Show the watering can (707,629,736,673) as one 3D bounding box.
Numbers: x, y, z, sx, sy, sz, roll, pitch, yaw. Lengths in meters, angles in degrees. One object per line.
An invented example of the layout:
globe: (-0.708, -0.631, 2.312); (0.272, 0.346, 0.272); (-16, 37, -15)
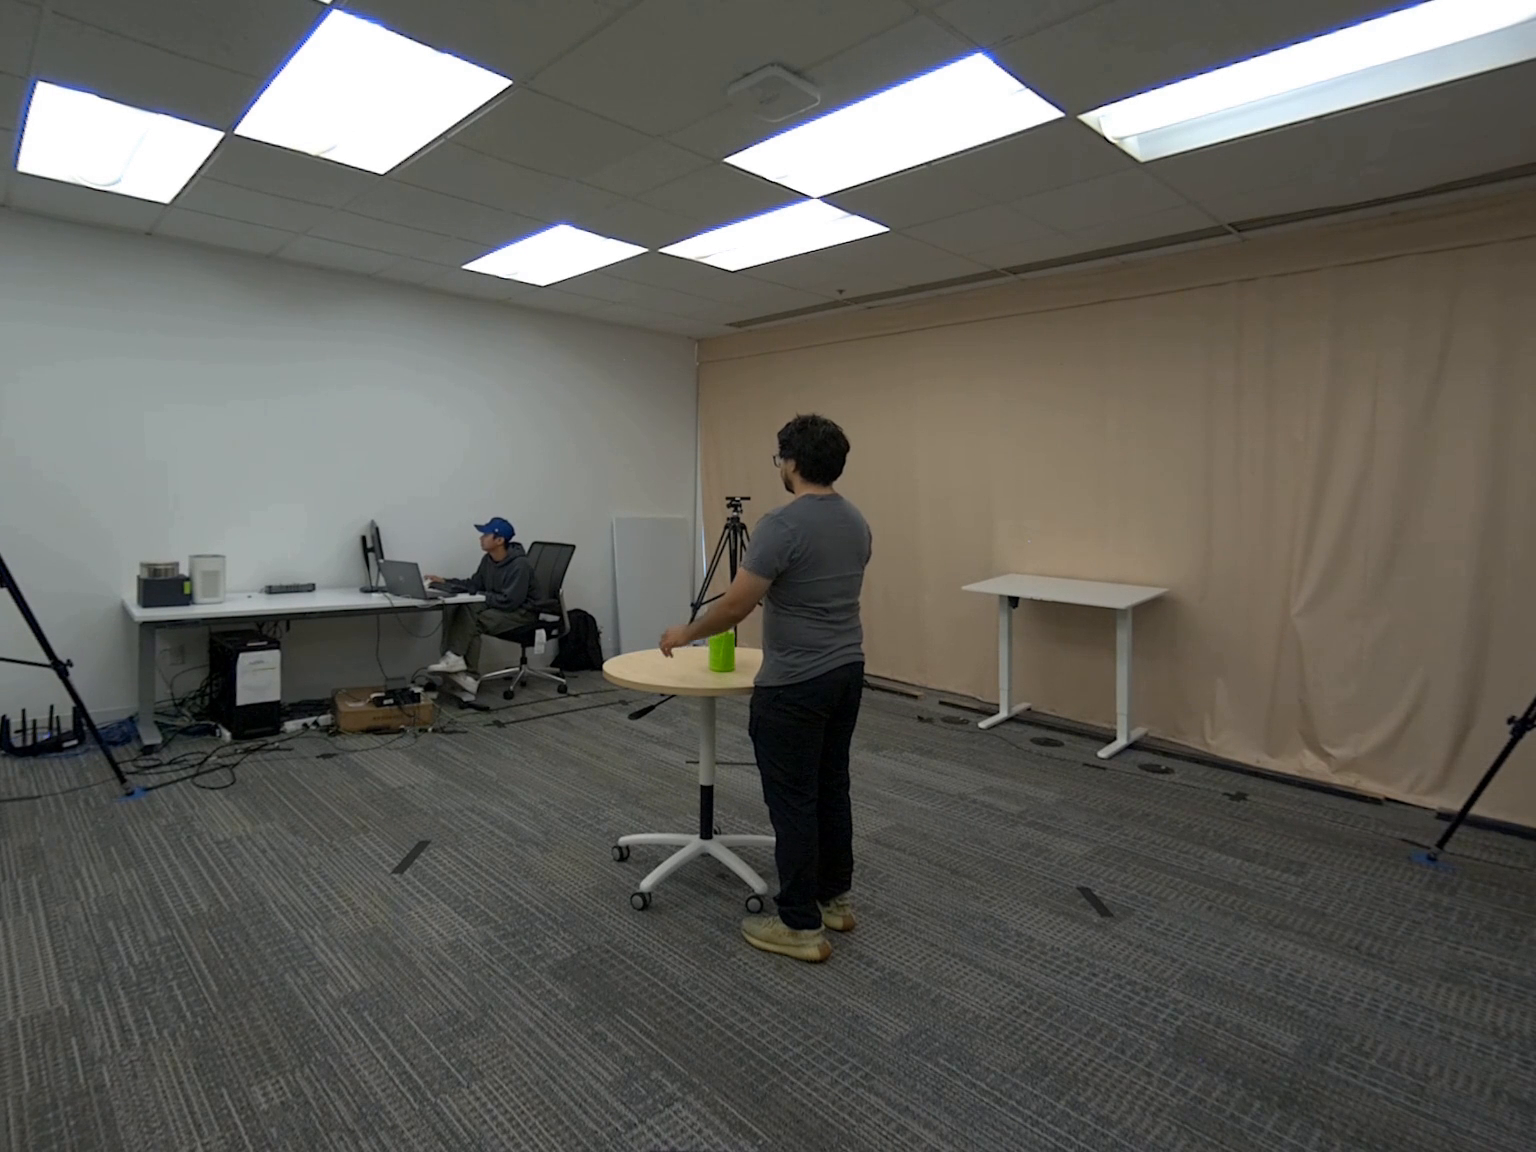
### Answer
watering can: (-0.174, 0.254, 2.954); (0.098, 0.177, 0.278); (0, 2, 2)
